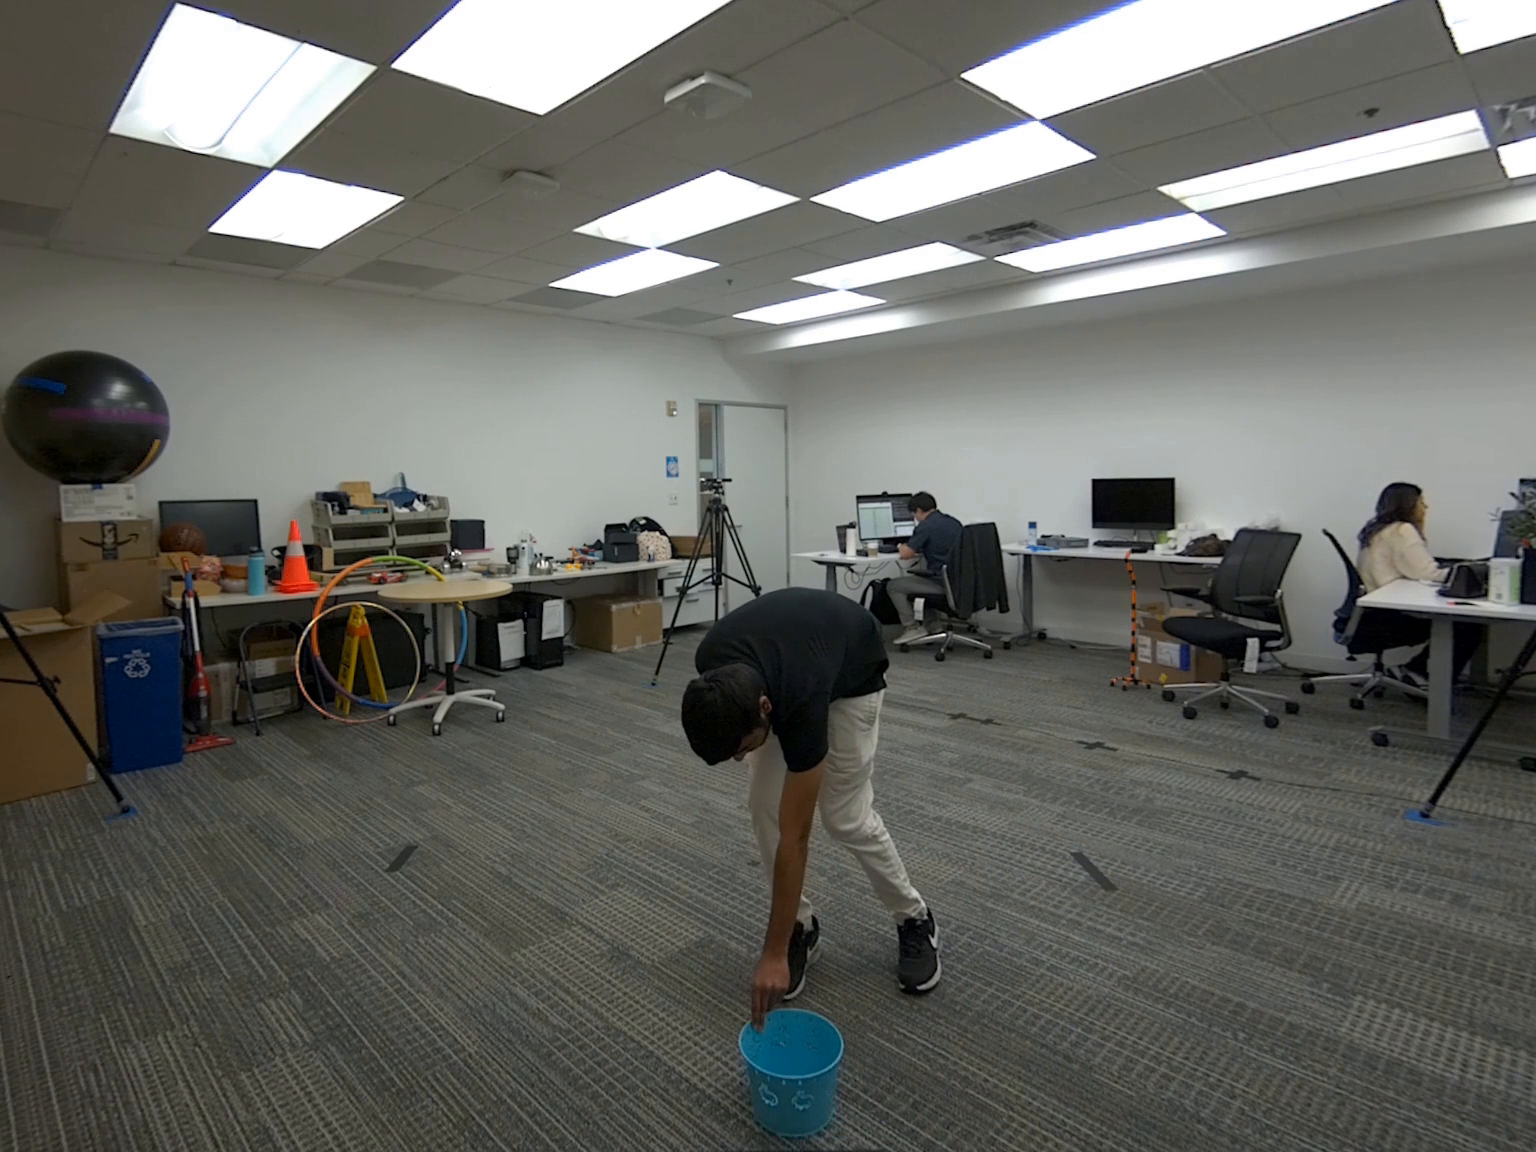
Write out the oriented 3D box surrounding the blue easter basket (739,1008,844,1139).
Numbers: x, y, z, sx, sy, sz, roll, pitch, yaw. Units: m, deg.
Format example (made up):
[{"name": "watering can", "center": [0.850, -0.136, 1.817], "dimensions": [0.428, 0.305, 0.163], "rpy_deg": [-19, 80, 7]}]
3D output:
[{"name": "blue easter basket", "center": [0.068, 1.104, 1.909], "dimensions": [0.243, 0.155, 0.245], "rpy_deg": [0, 6, -2]}]
